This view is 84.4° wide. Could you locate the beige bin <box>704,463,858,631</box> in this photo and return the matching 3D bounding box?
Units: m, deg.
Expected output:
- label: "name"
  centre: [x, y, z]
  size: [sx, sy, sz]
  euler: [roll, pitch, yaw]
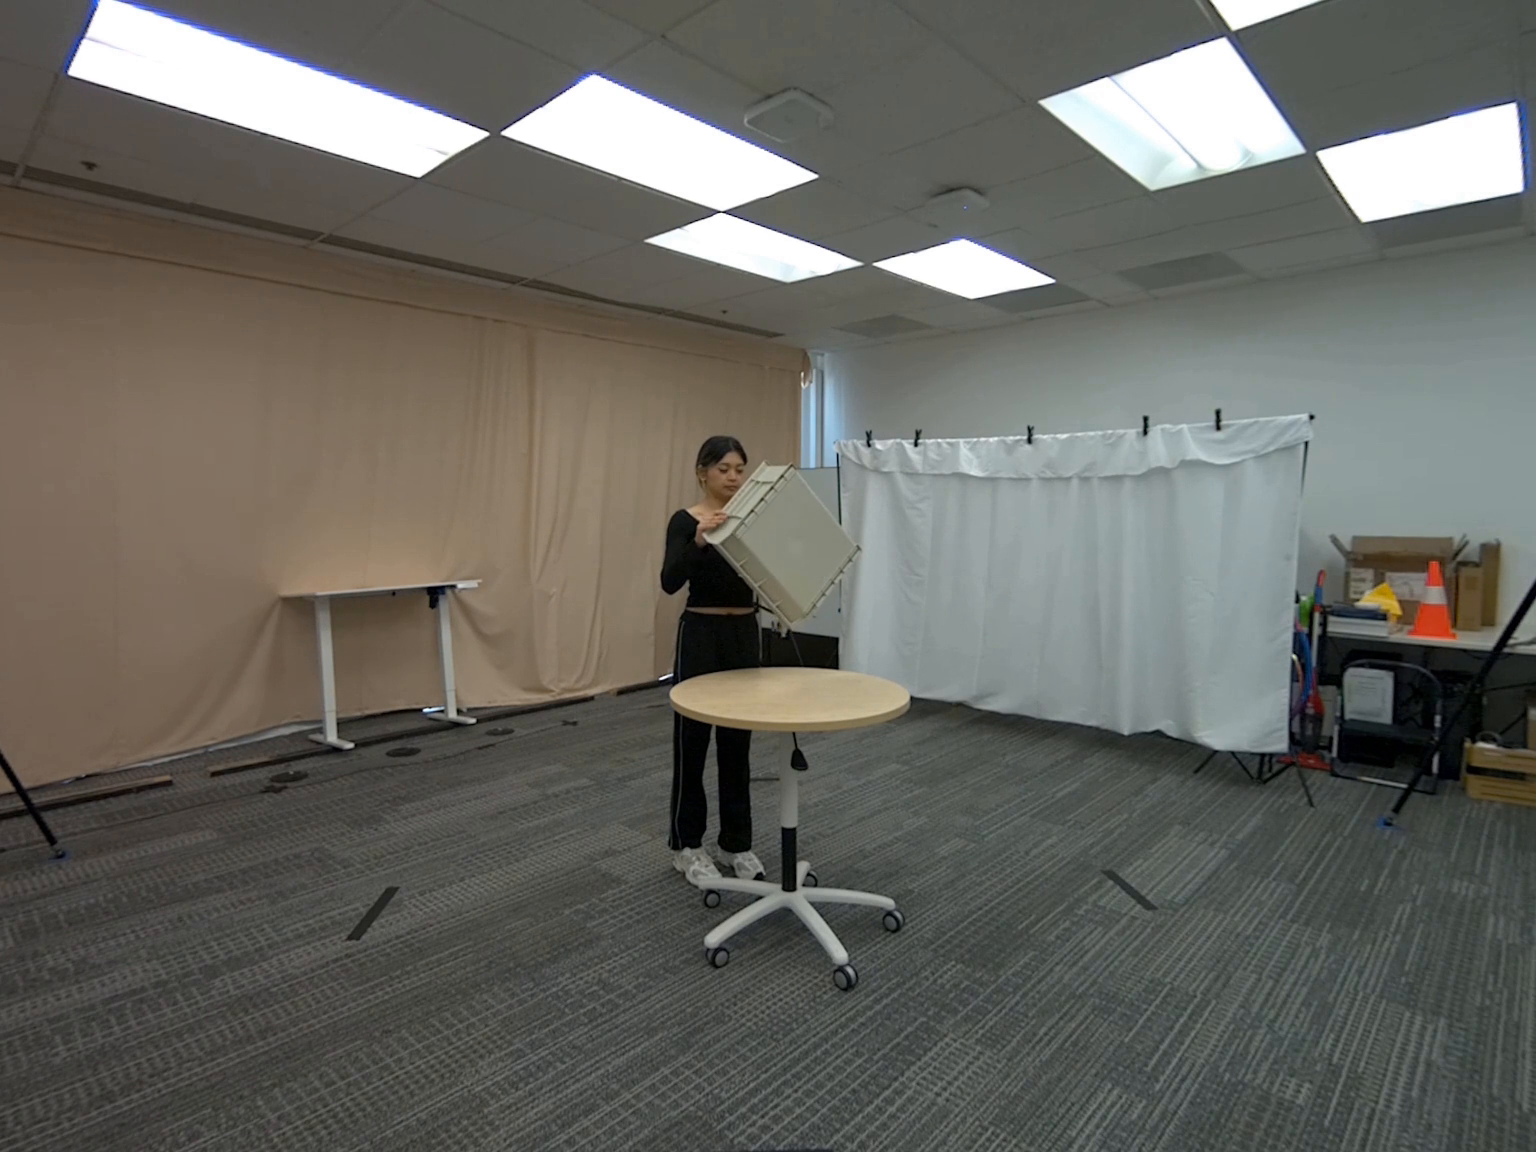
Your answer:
- label: "beige bin"
  centre: [0.046, -0.099, 2.810]
  size: [0.412, 0.376, 0.194]
  euler: [48, -18, -23]
